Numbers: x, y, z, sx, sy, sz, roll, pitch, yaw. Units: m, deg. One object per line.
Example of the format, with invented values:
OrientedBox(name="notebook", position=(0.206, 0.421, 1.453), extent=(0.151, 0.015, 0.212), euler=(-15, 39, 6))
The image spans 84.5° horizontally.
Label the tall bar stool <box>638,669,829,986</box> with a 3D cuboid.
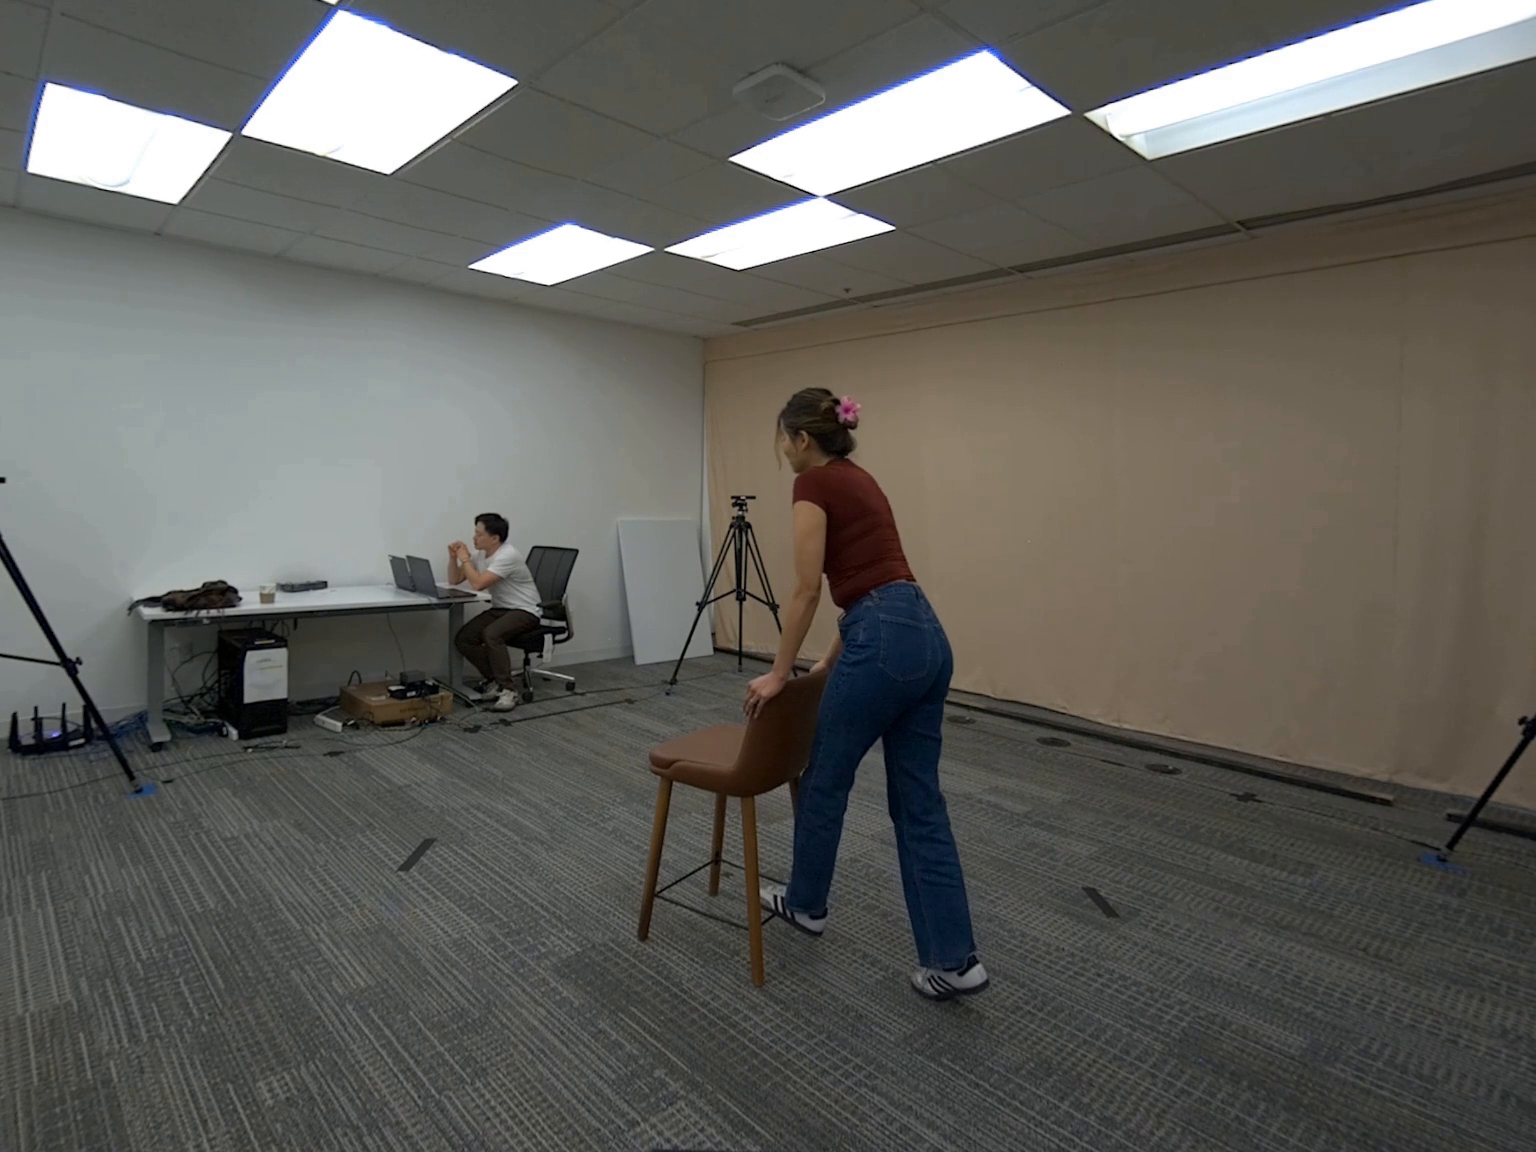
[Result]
OrientedBox(name="tall bar stool", position=(-0.101, 0.709, 2.641), extent=(0.479, 0.886, 0.447), euler=(6, 6, 34))
